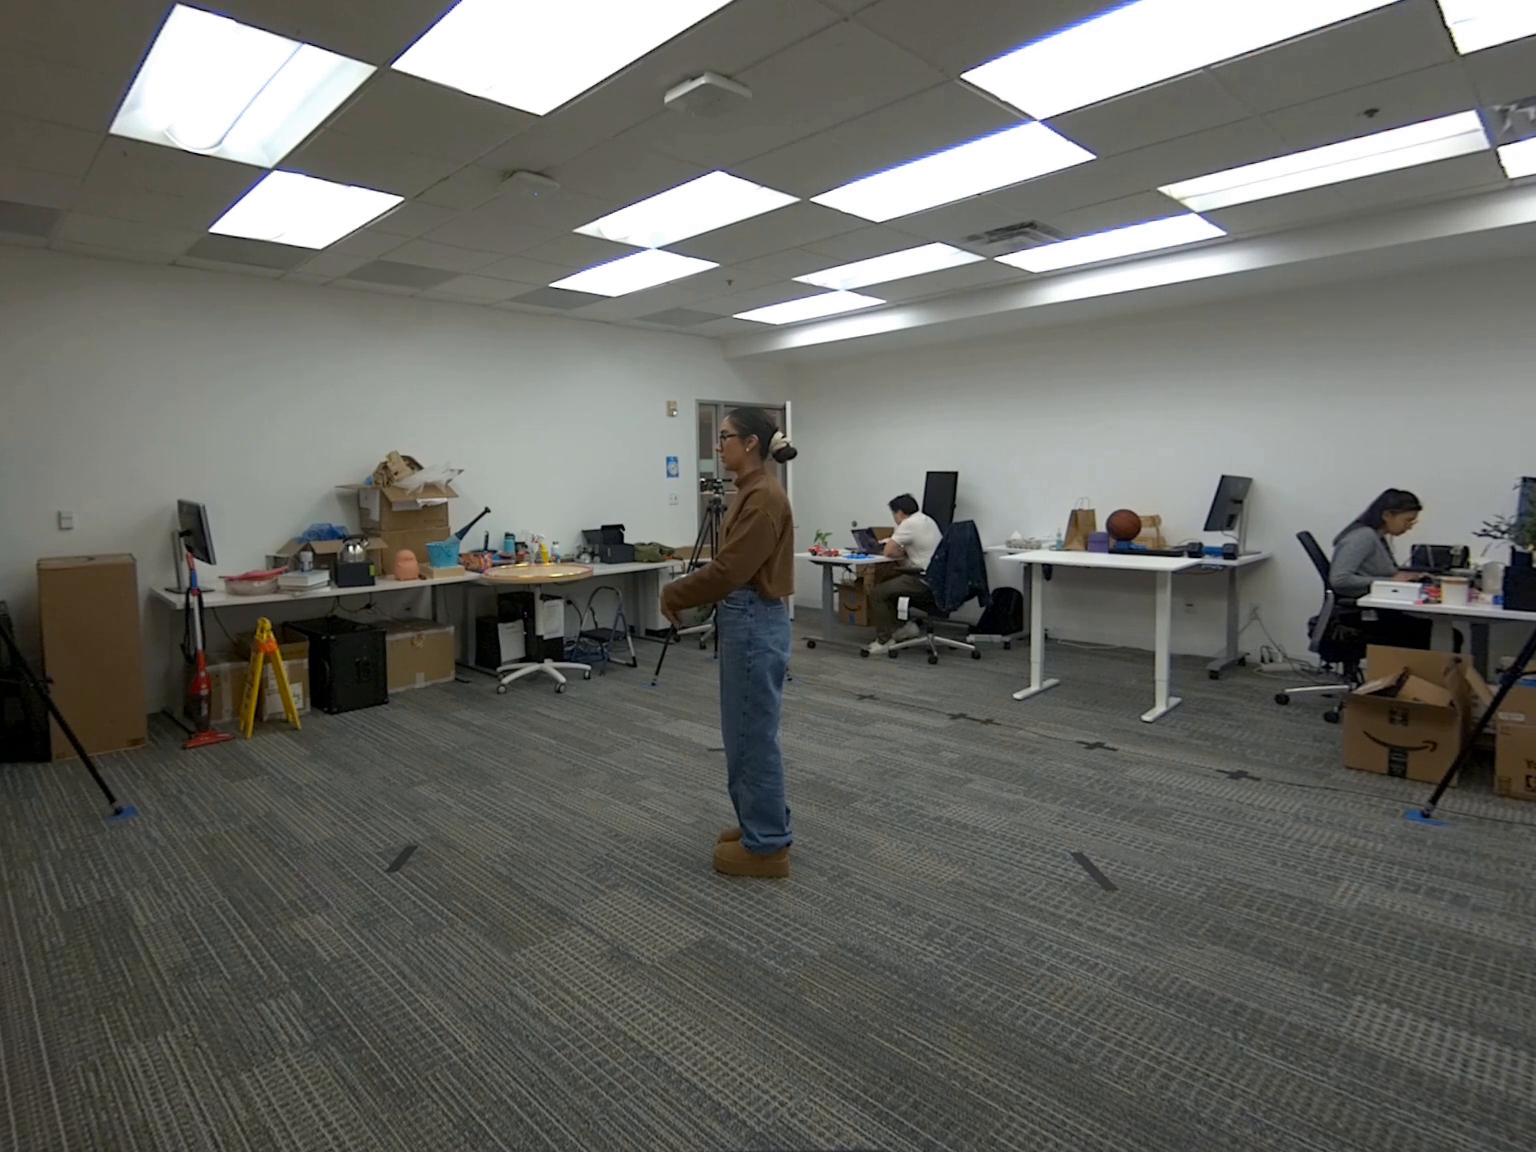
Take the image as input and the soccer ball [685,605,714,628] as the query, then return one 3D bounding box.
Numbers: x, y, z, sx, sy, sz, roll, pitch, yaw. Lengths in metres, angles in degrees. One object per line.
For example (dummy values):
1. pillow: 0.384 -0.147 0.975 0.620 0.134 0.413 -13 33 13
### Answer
1. soccer ball: -0.250 0.086 3.046 0.187 0.187 0.188 -1 5 -2
